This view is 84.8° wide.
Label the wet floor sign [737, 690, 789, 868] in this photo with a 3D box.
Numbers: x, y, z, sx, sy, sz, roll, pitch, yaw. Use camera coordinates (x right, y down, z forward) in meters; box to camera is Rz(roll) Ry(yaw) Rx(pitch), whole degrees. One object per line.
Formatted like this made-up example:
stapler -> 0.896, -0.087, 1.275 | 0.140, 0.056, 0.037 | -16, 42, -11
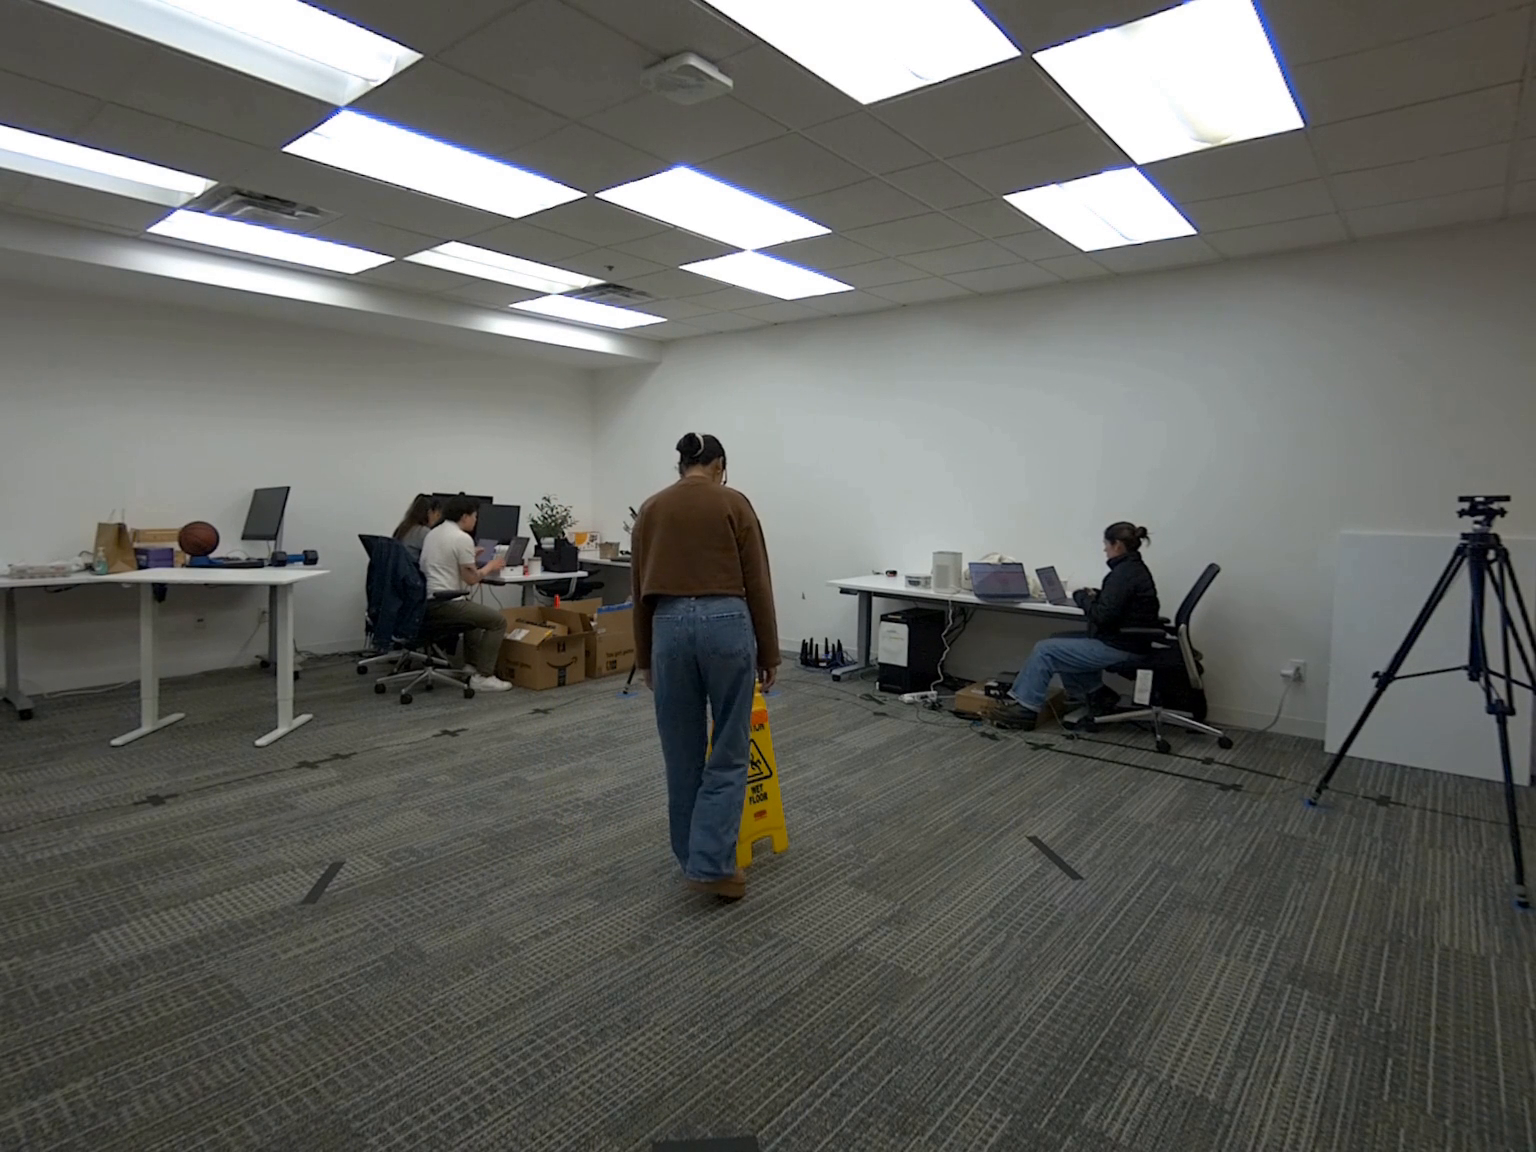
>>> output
wet floor sign -> -0.112, 0.725, 3.285 | 0.274, 0.644, 0.300 | -2, 5, -45
